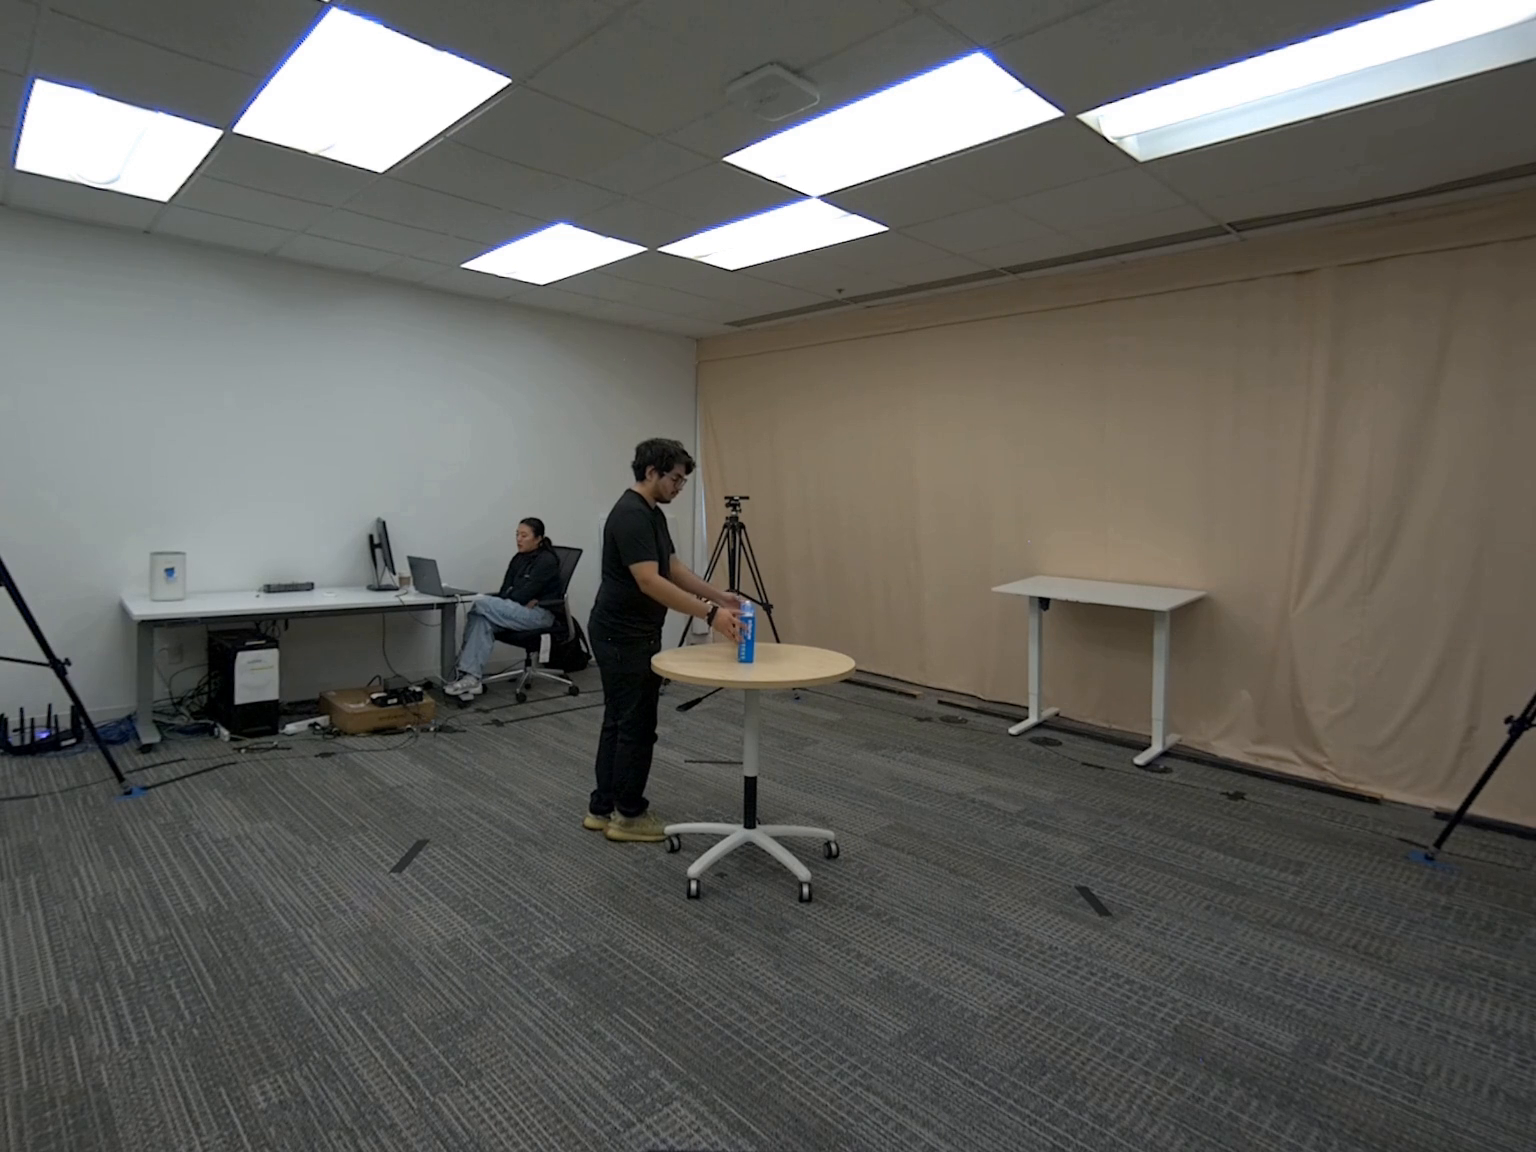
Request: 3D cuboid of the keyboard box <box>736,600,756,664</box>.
[{"bbox_3d":[-0.084,0.212,3.324,0.059,0.175,0.438,1,5,-1],"label":"keyboard box"}]
